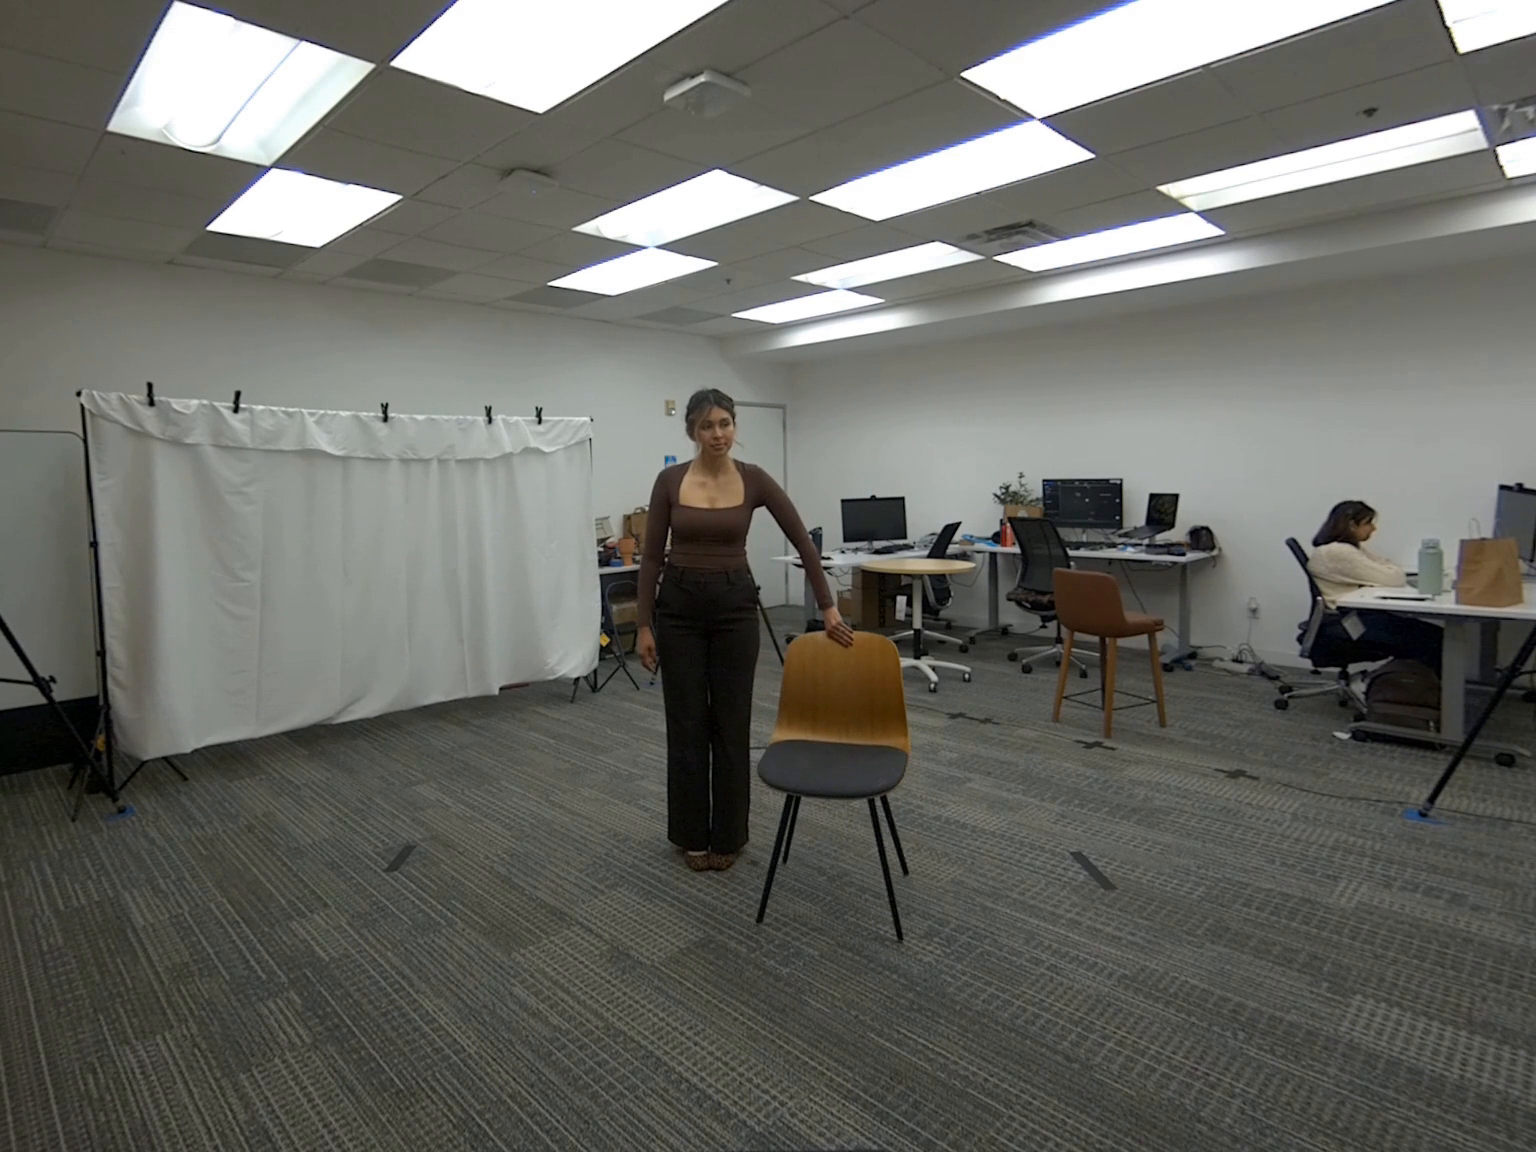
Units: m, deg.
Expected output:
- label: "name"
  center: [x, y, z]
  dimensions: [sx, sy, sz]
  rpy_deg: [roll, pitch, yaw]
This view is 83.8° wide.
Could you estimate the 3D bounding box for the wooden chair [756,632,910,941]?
- label: "wooden chair"
  center: [0.229, 0.646, 2.794]
  dimensions: [0.485, 0.878, 0.516]
  rpy_deg: [0, 0, 13]
